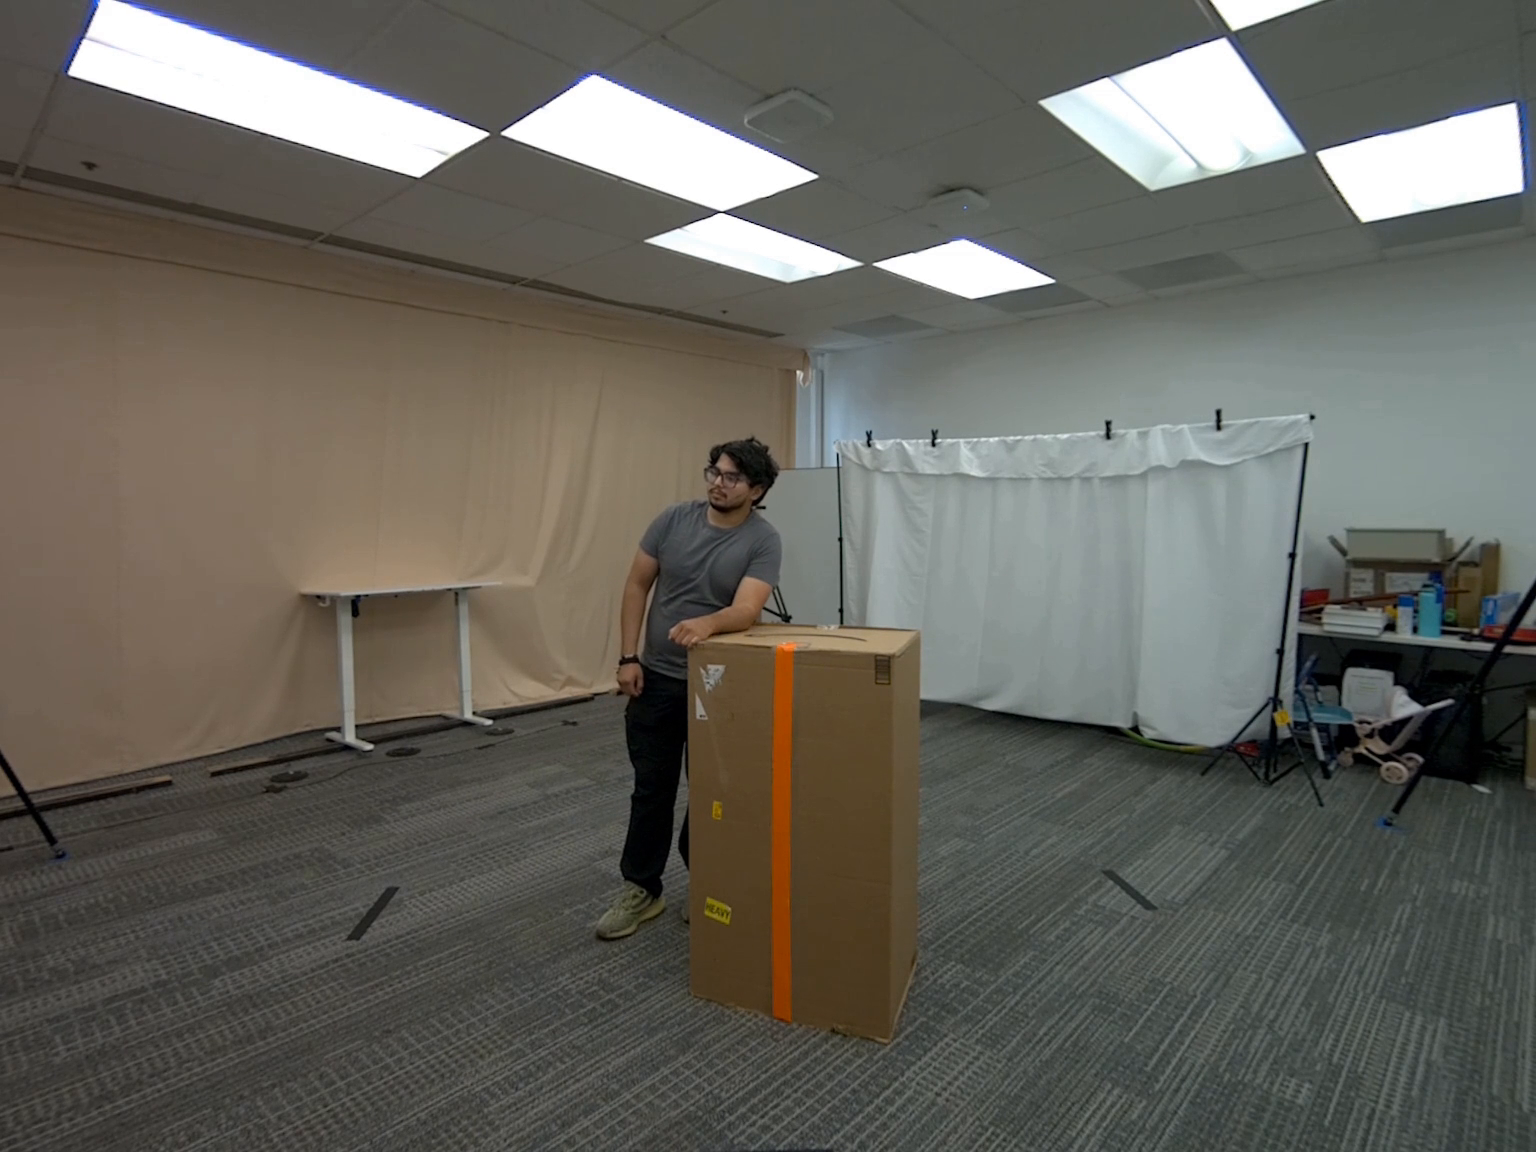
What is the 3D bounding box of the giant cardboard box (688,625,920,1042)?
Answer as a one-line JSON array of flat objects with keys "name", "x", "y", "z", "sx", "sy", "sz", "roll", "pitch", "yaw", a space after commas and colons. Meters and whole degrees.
[{"name": "giant cardboard box", "x": 0.122, "y": 0.682, "z": 2.445, "sx": 0.591, "sy": 1.024, "sz": 0.417, "roll": 1, "pitch": 3, "yaw": 23}]
